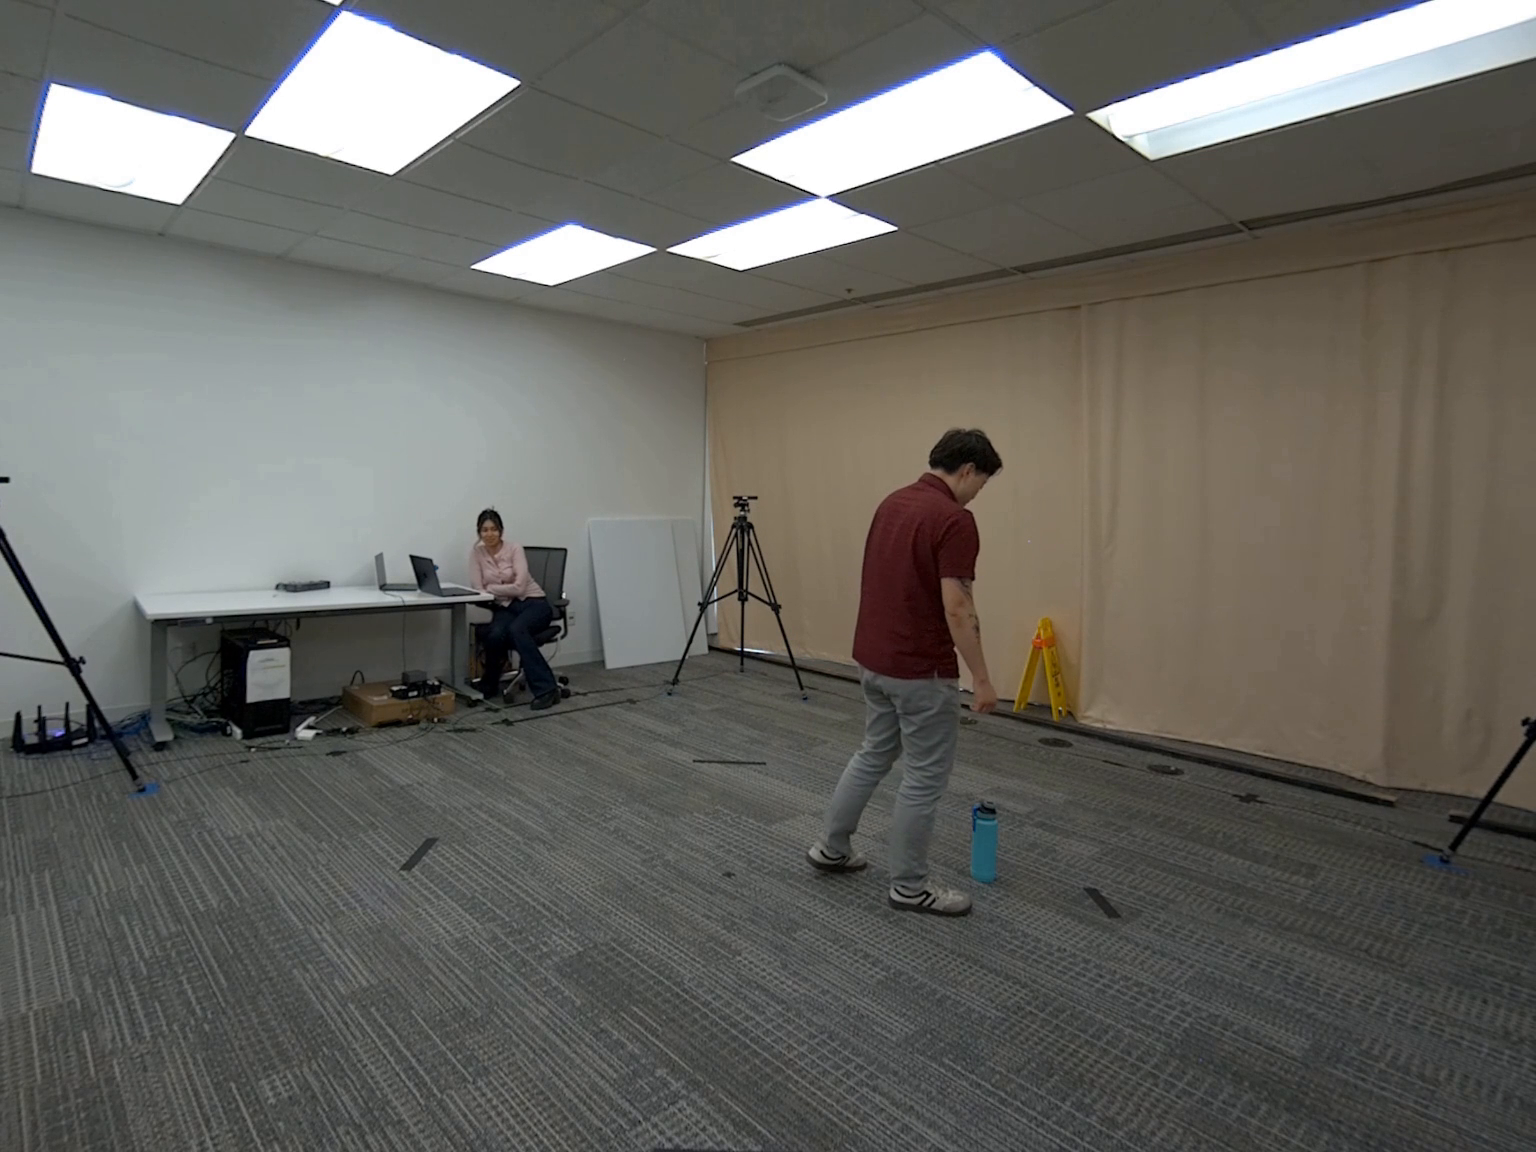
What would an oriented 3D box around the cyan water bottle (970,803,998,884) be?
[{"bbox_3d":[0.793,0.981,3.139,0.092,0.283,0.092,-1,2,-1],"label":"cyan water bottle"}]
